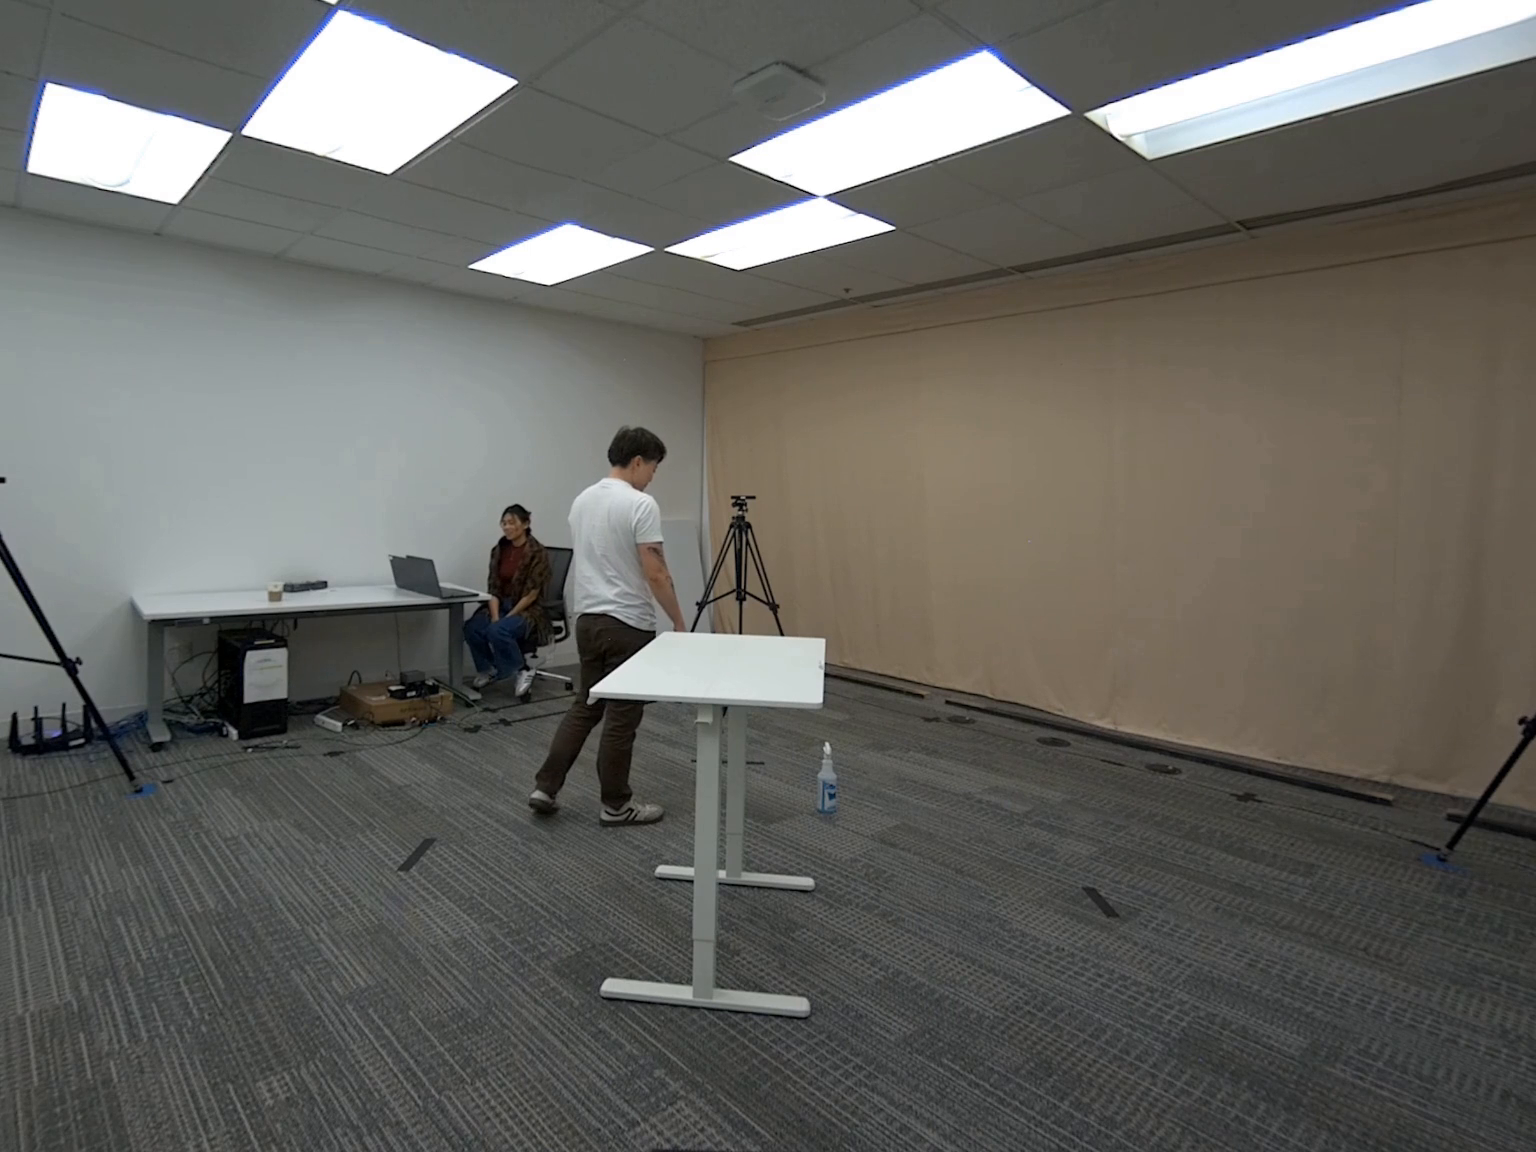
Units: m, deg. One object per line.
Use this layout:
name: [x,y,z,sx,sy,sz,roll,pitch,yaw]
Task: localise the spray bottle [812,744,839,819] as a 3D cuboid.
spray bottle: [0.256,0.915,3.786,0.089,0.297,0.088,2,3,26]
